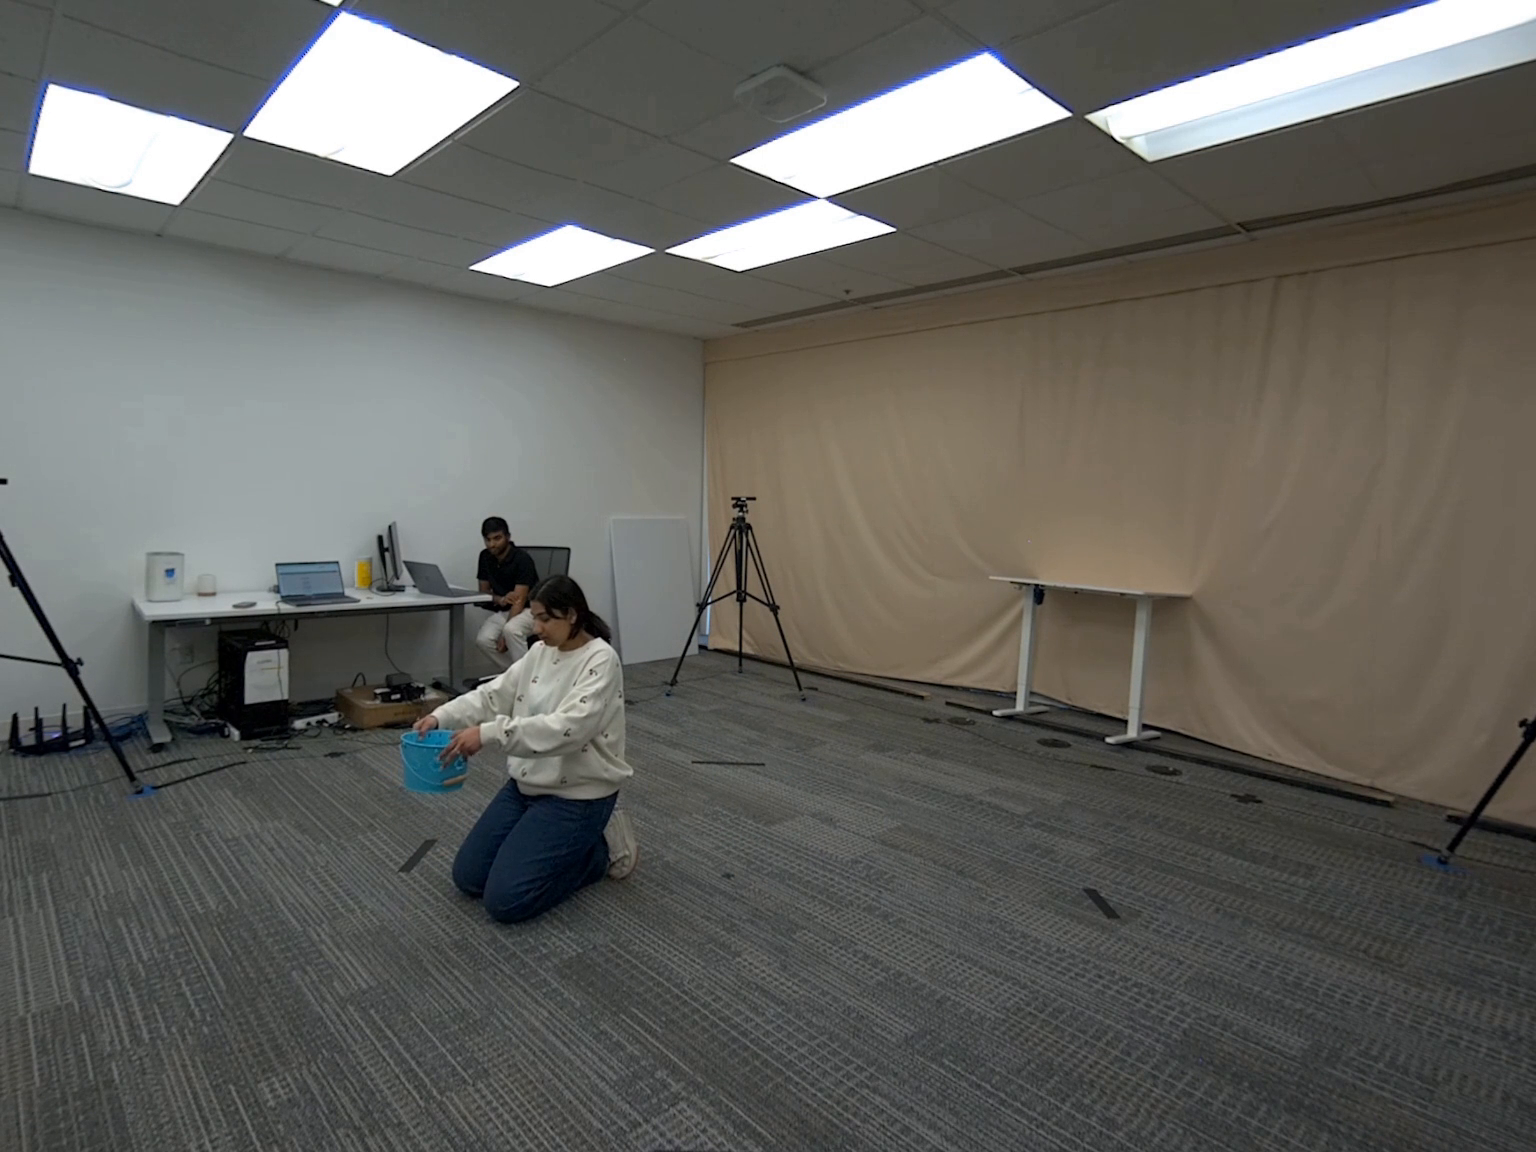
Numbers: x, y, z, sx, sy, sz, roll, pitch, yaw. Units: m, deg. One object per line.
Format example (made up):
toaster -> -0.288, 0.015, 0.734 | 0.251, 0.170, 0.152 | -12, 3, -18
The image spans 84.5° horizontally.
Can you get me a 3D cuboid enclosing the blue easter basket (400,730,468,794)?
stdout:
blue easter basket -> -1.067, 0.589, 2.708 | 0.243, 0.156, 0.244 | 3, 1, -1
